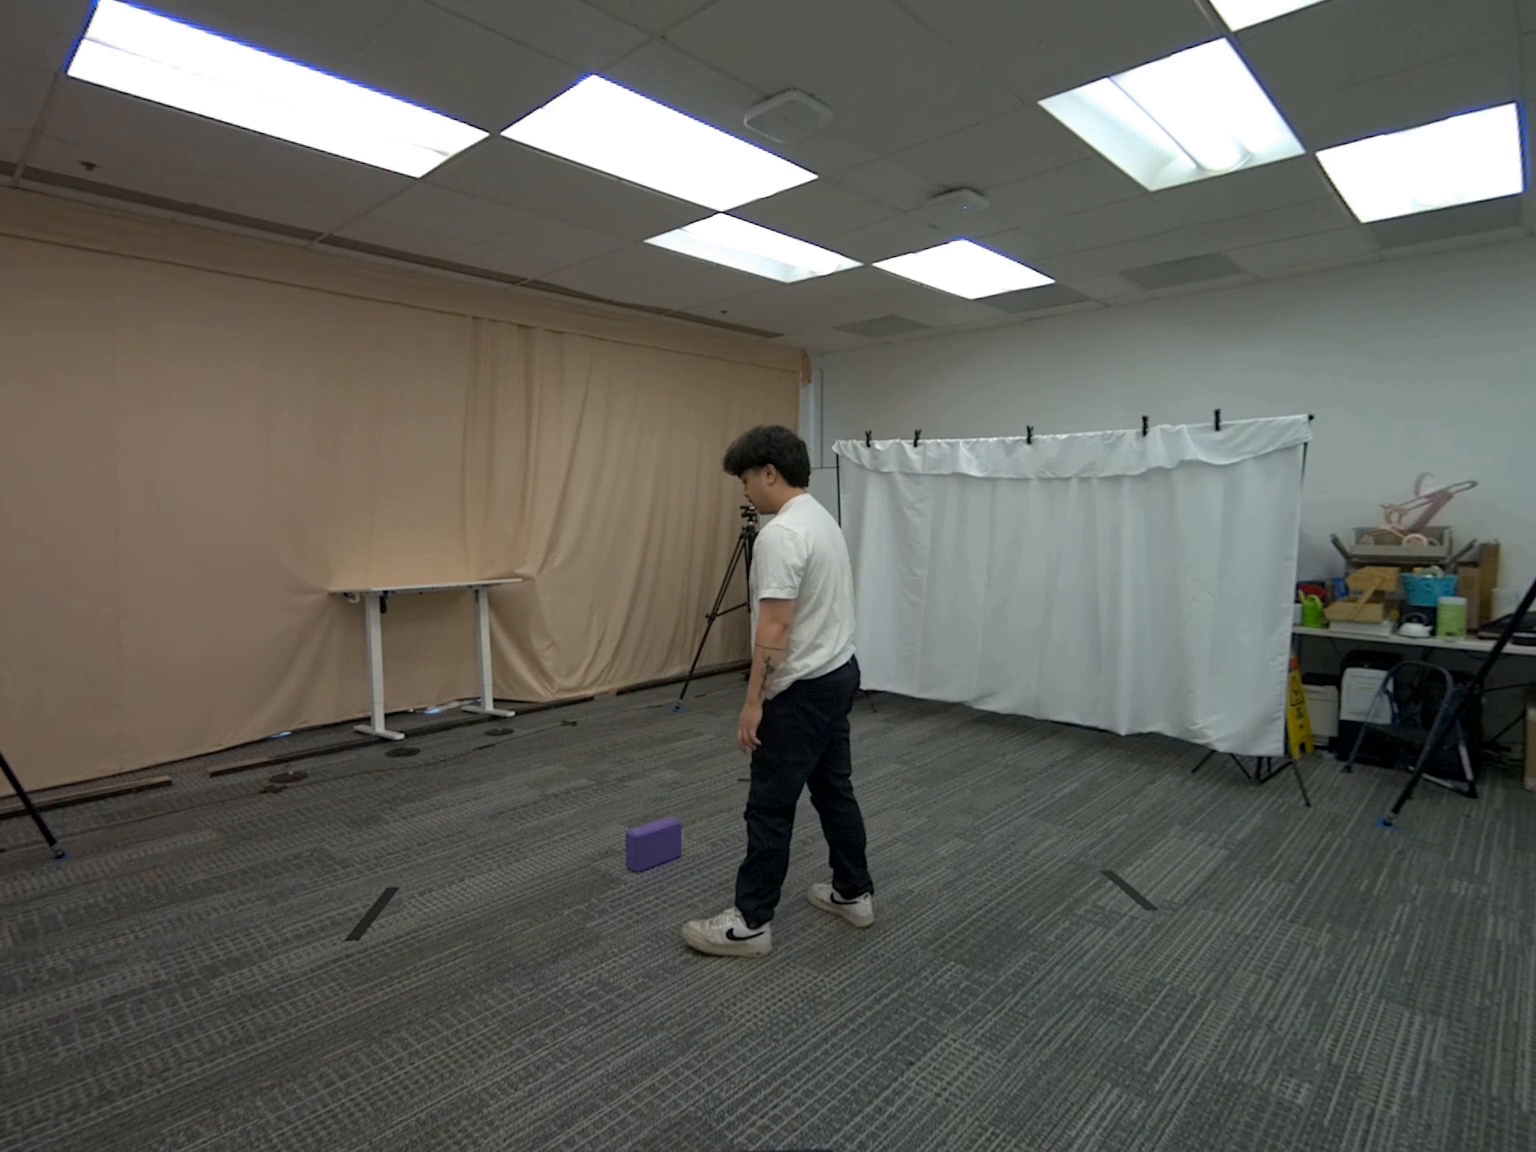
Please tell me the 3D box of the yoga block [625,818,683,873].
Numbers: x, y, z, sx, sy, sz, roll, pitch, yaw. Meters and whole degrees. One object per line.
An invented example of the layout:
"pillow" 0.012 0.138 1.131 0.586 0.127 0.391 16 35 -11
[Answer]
"yoga block" -0.446 1.048 3.293 0.222 0.149 0.079 -4 4 -43
